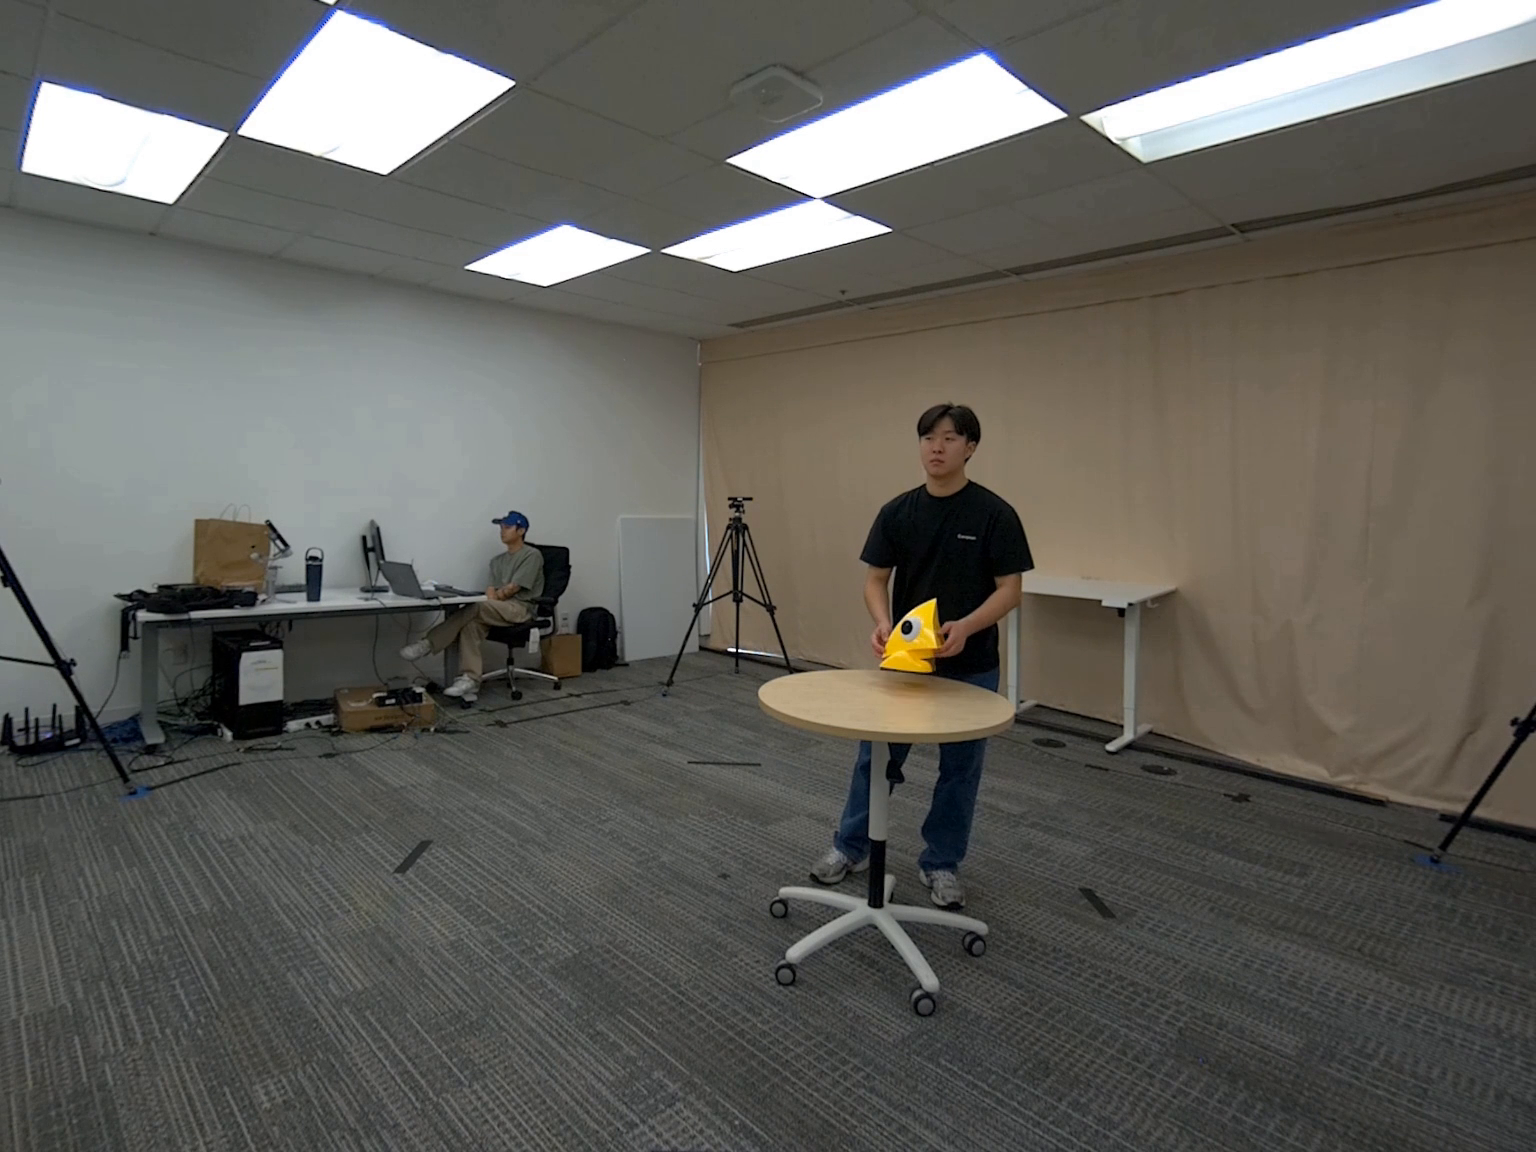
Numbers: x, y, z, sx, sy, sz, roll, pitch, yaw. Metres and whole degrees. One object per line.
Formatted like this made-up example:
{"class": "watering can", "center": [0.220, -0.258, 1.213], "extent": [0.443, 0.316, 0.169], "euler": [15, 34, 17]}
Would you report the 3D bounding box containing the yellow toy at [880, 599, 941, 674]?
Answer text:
{"class": "yellow toy", "center": [0.464, 0.184, 2.696], "extent": [0.196, 0.231, 0.201], "euler": [3, -3, 21]}
